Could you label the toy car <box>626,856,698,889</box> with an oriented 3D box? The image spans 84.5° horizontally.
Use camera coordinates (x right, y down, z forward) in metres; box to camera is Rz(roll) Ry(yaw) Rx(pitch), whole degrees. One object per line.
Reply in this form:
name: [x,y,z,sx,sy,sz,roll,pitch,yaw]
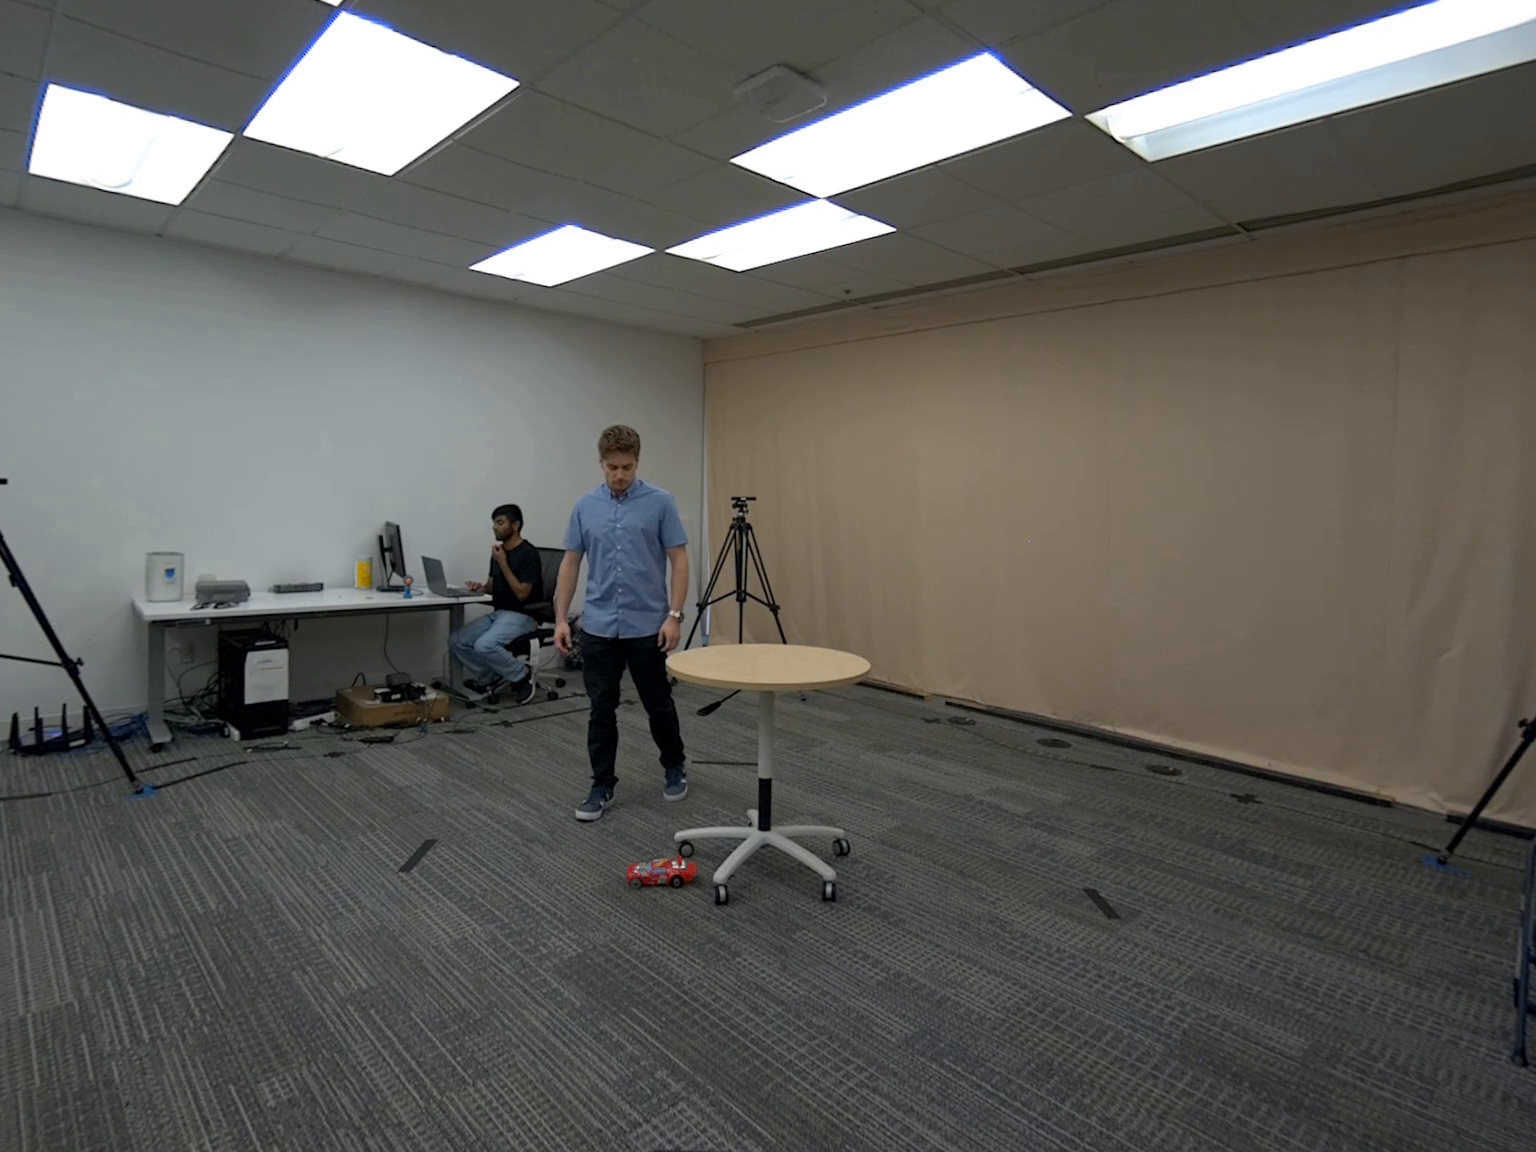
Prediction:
toy car: [-0.393,1.078,3.038,0.254,0.083,0.131,-10,7,-4]
